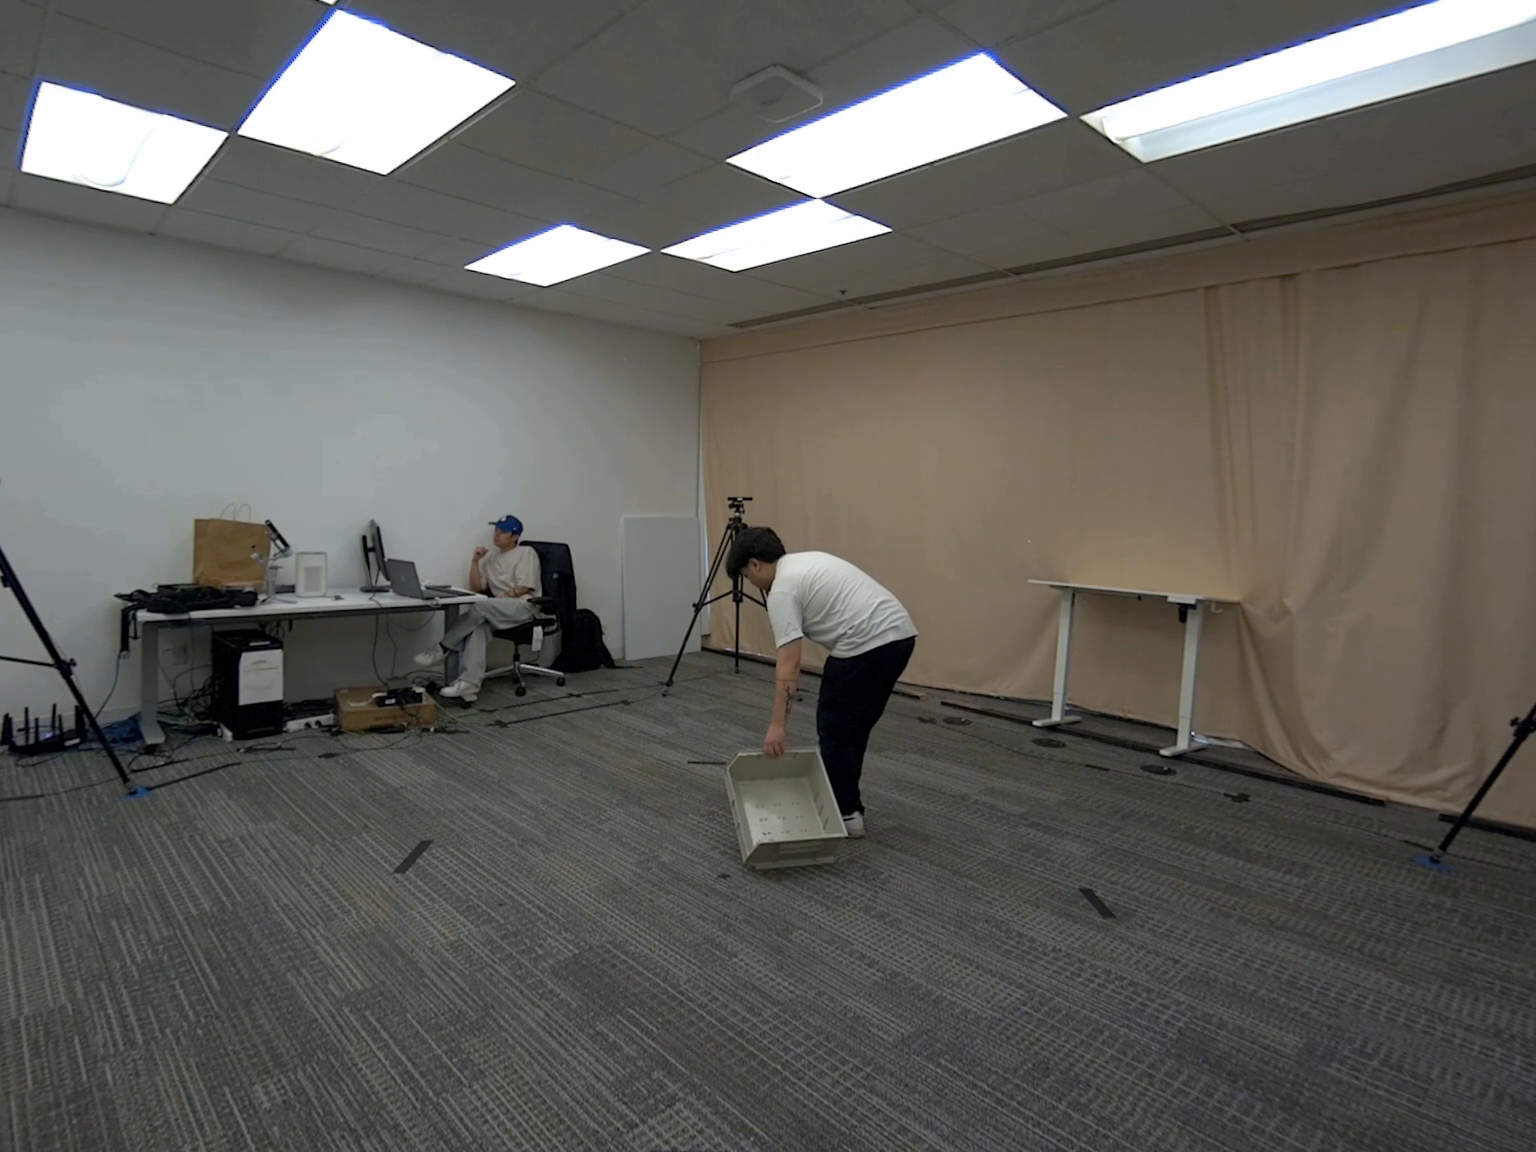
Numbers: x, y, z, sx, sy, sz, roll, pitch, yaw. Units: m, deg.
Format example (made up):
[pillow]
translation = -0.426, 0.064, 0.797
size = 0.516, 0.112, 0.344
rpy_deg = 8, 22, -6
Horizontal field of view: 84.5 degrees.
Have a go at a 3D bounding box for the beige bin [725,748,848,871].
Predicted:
[beige bin]
translation = 0.047, 0.909, 3.303
size = 0.372, 0.186, 0.434
rpy_deg = 1, 37, -16
